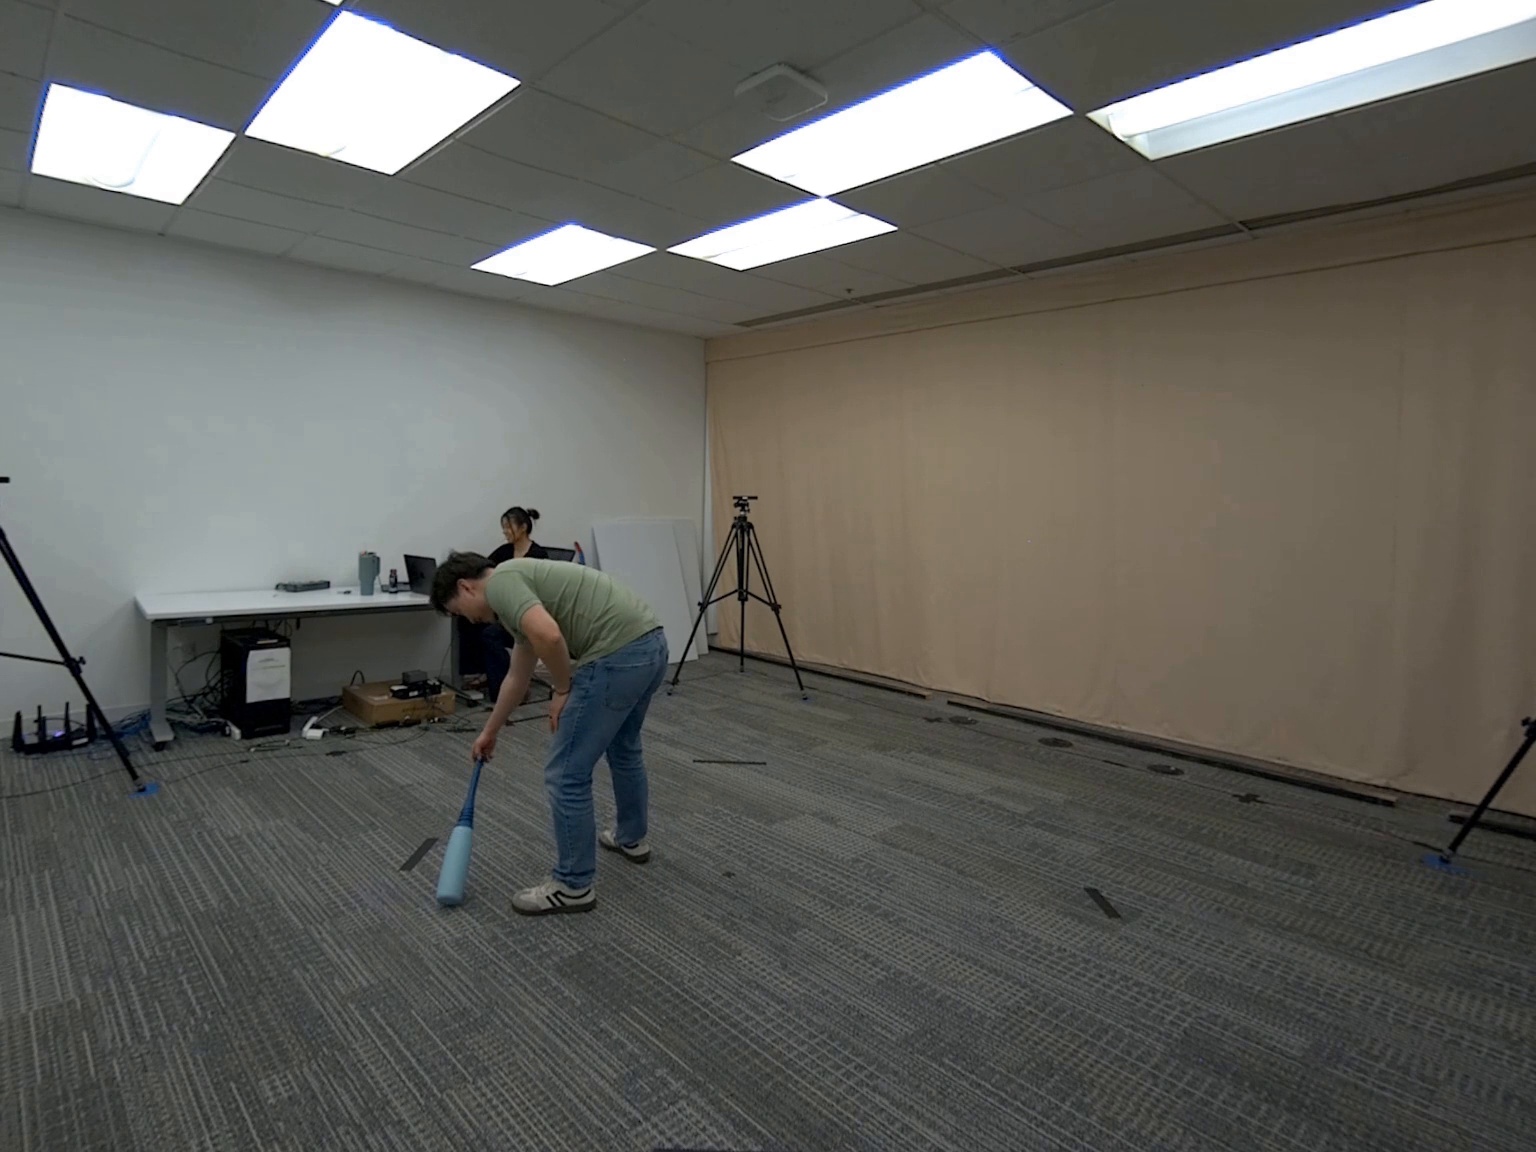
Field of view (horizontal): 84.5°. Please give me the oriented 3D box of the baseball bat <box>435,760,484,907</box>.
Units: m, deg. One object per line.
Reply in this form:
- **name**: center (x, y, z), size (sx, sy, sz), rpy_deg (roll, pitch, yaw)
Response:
- **baseball bat**: center (-1.078, 0.884, 2.978), size (0.088, 0.087, 0.556), rpy_deg (0, 48, -8)
